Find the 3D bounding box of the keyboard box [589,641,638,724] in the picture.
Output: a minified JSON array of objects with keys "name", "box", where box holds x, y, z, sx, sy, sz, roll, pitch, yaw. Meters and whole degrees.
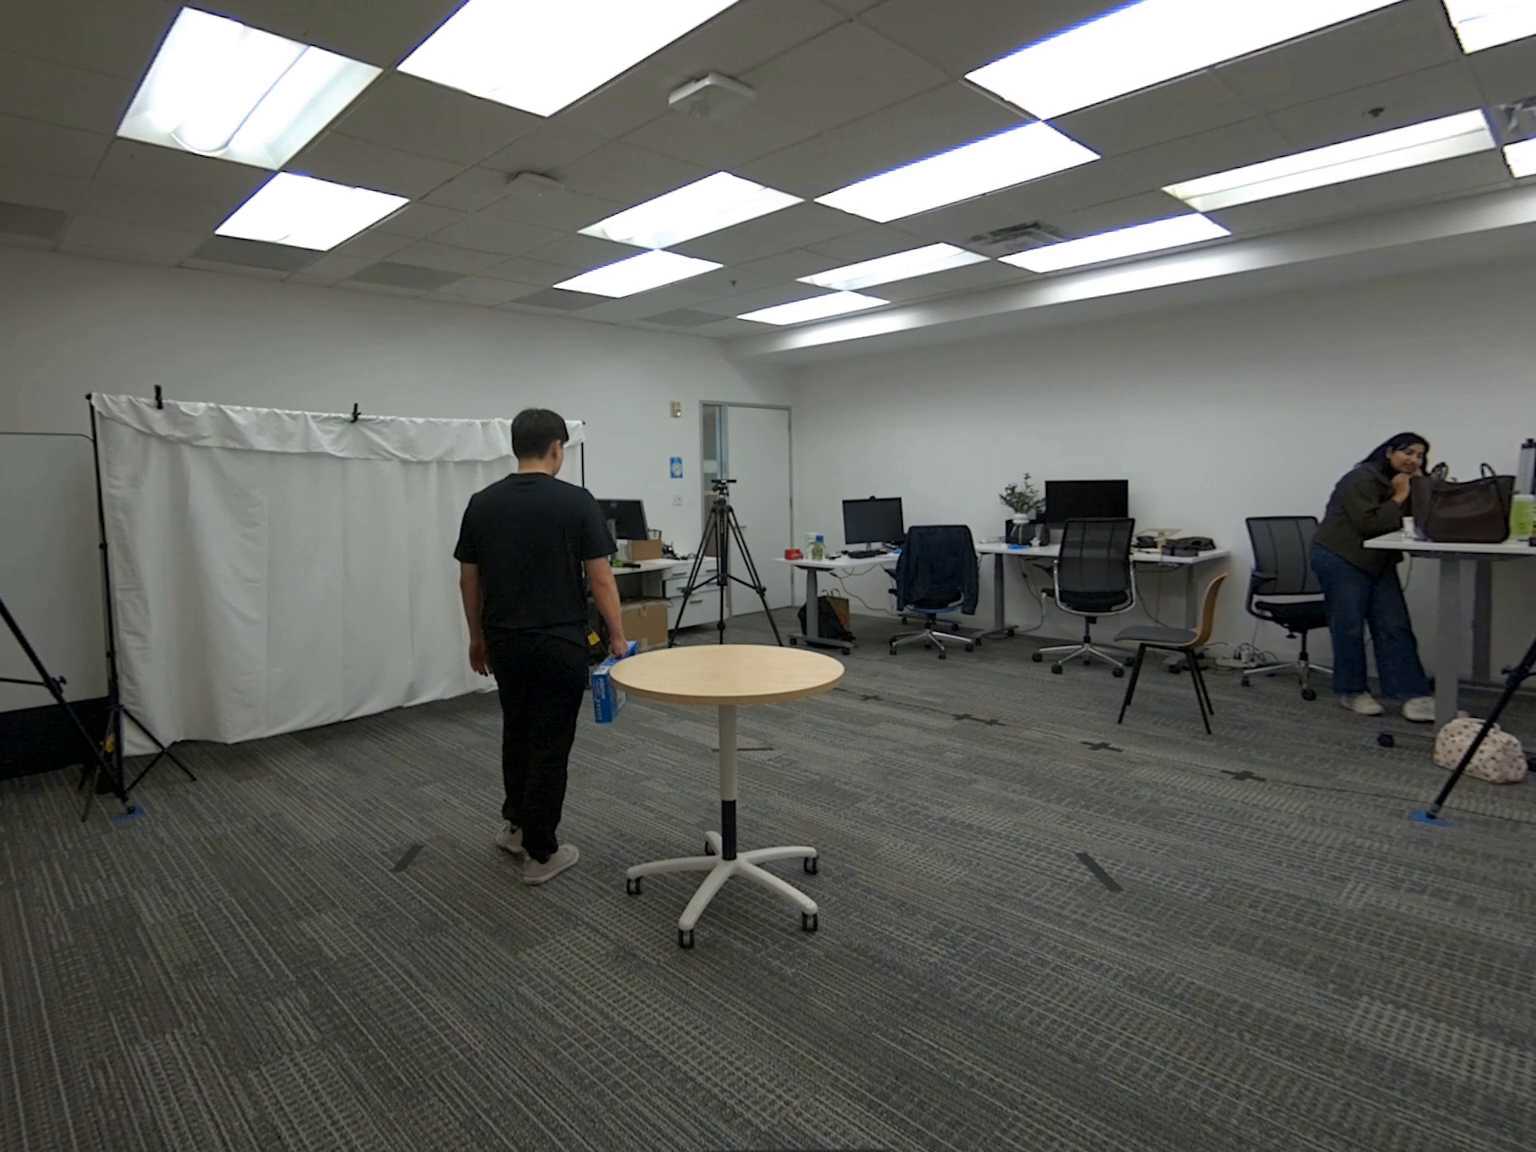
[{"name":"keyboard box","box":[-0.549,0.381,3.144,0.059,0.174,0.438,-2,11,5]}]
